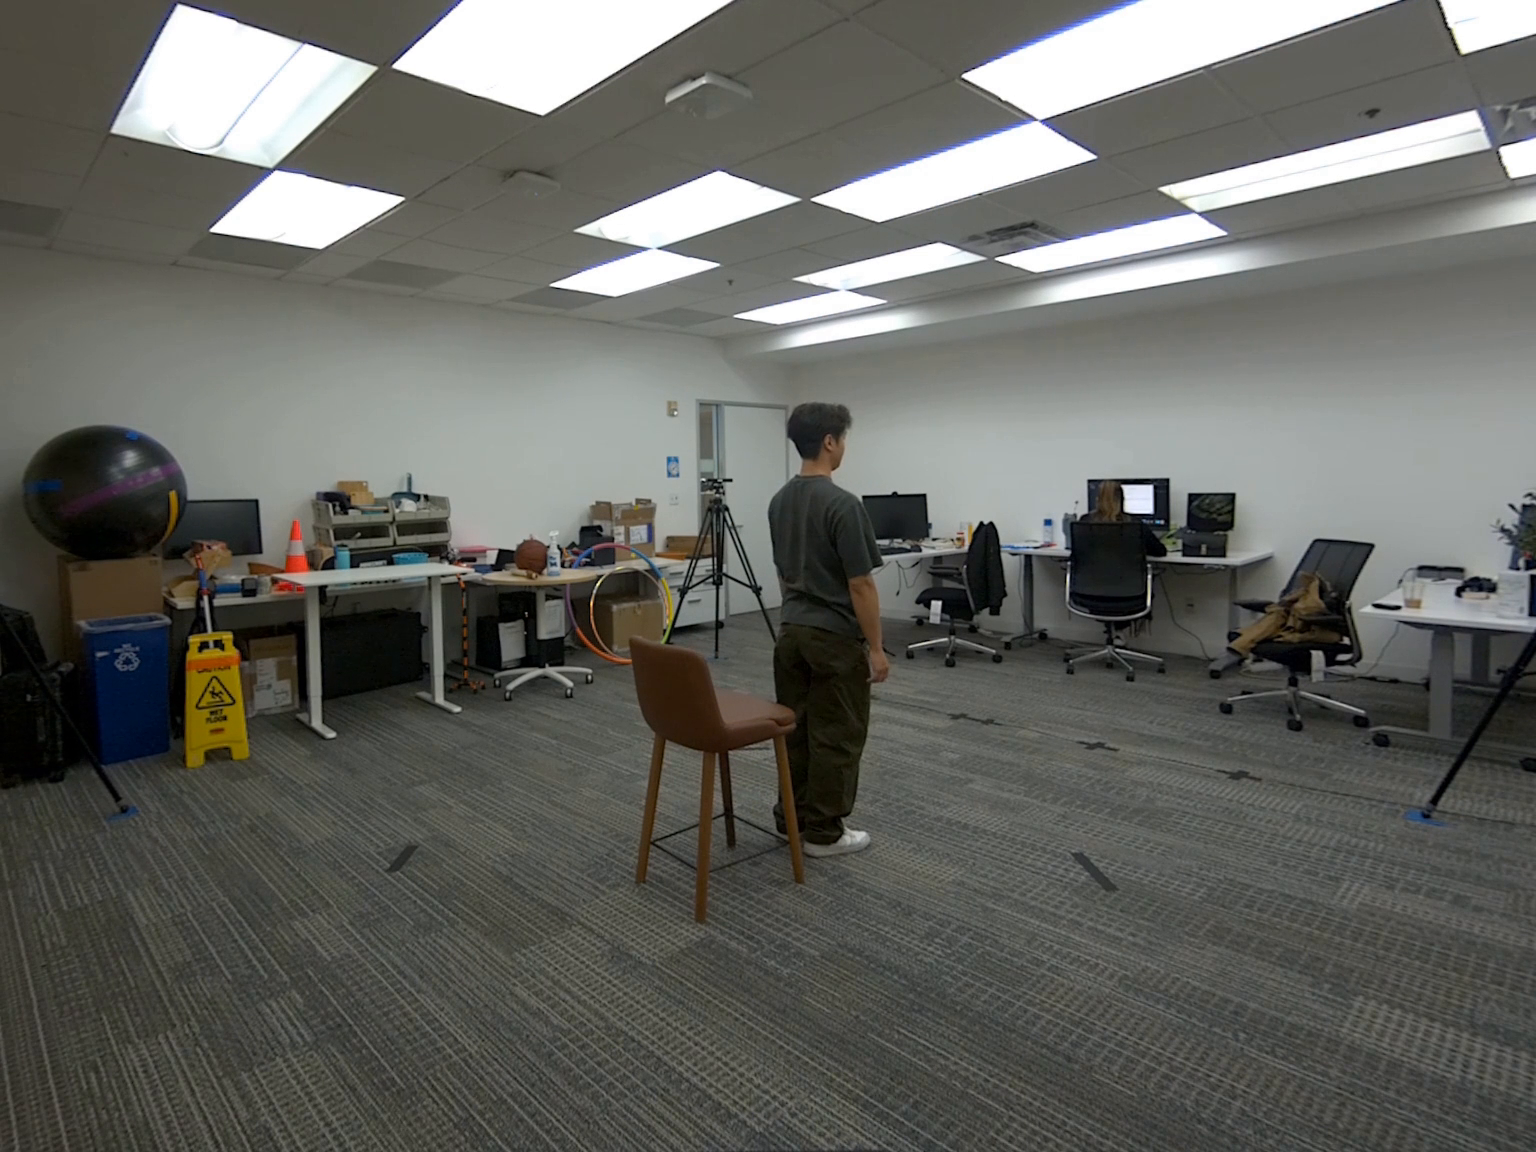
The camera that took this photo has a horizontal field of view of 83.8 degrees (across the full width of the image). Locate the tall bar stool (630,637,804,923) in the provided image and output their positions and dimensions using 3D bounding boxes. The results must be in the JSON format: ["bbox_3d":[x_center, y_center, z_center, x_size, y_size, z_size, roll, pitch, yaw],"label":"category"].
[{"bbox_3d":[-0.183,0.629,2.940,0.456,0.885,0.470,-7,8,-40],"label":"tall bar stool"}]
